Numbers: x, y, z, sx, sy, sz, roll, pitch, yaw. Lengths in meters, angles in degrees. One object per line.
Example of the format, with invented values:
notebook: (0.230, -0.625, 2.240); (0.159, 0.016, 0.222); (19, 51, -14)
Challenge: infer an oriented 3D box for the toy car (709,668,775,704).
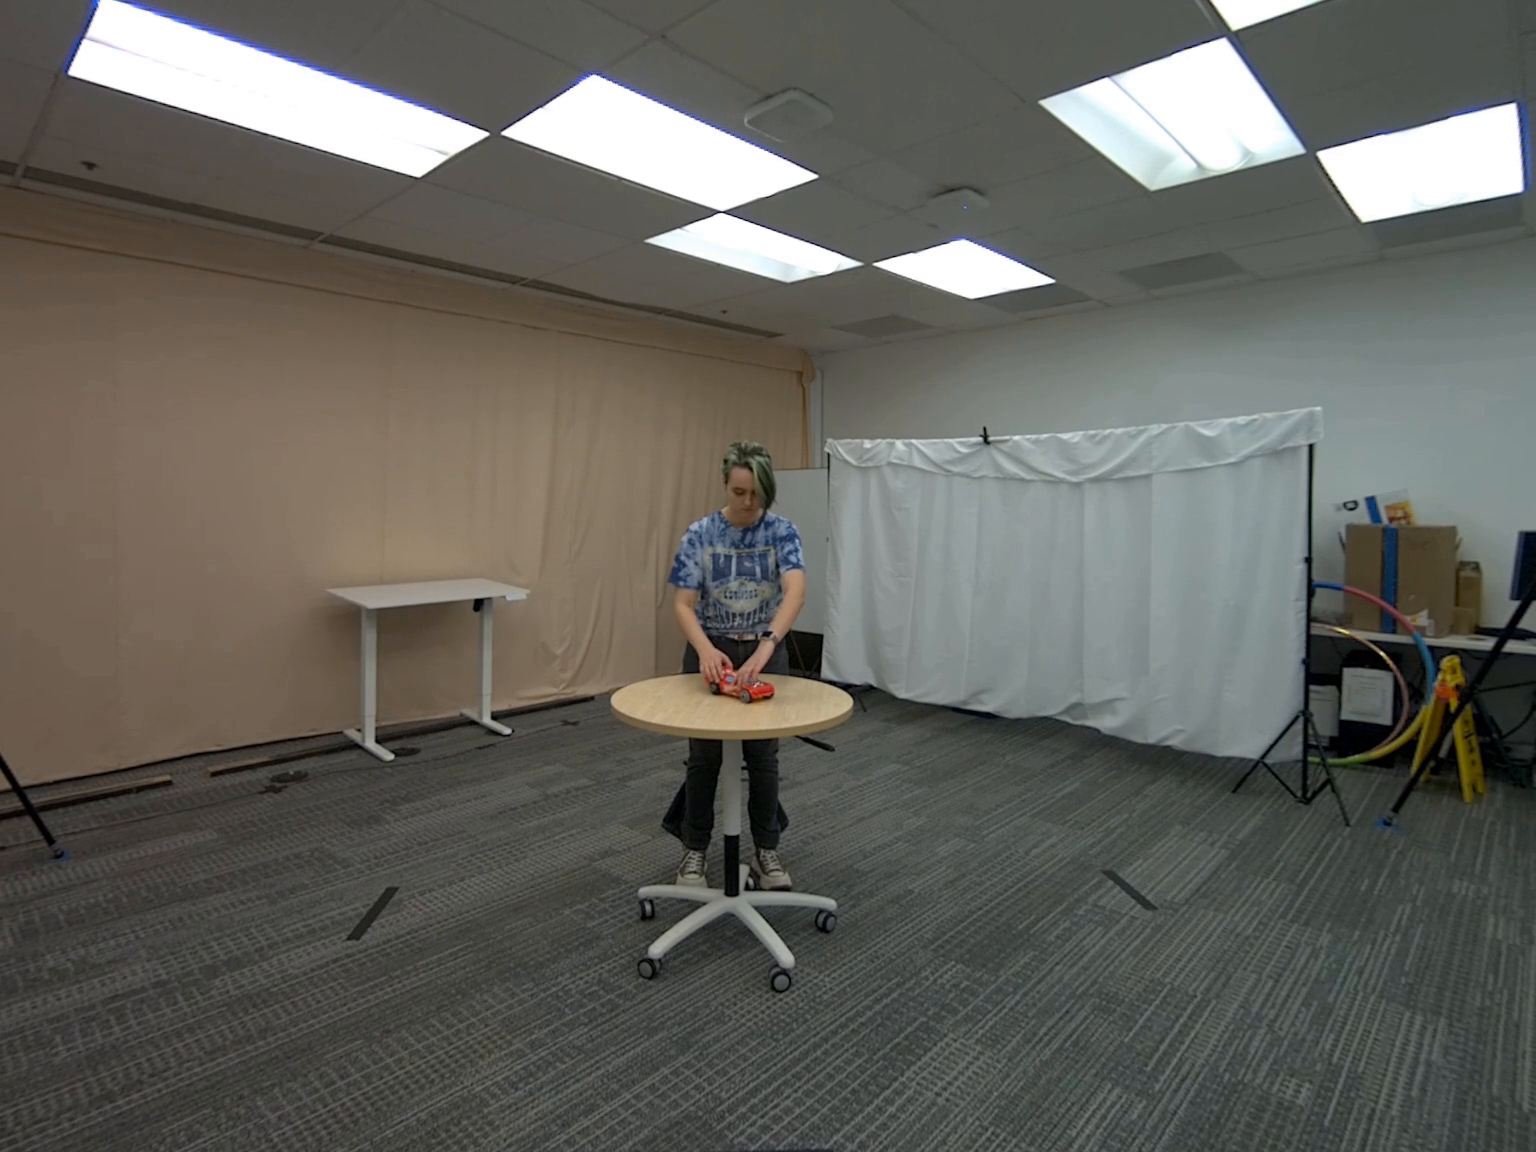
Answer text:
toy car: (-0.101, 0.353, 2.709); (0.126, 0.082, 0.264); (-5, 18, -41)
